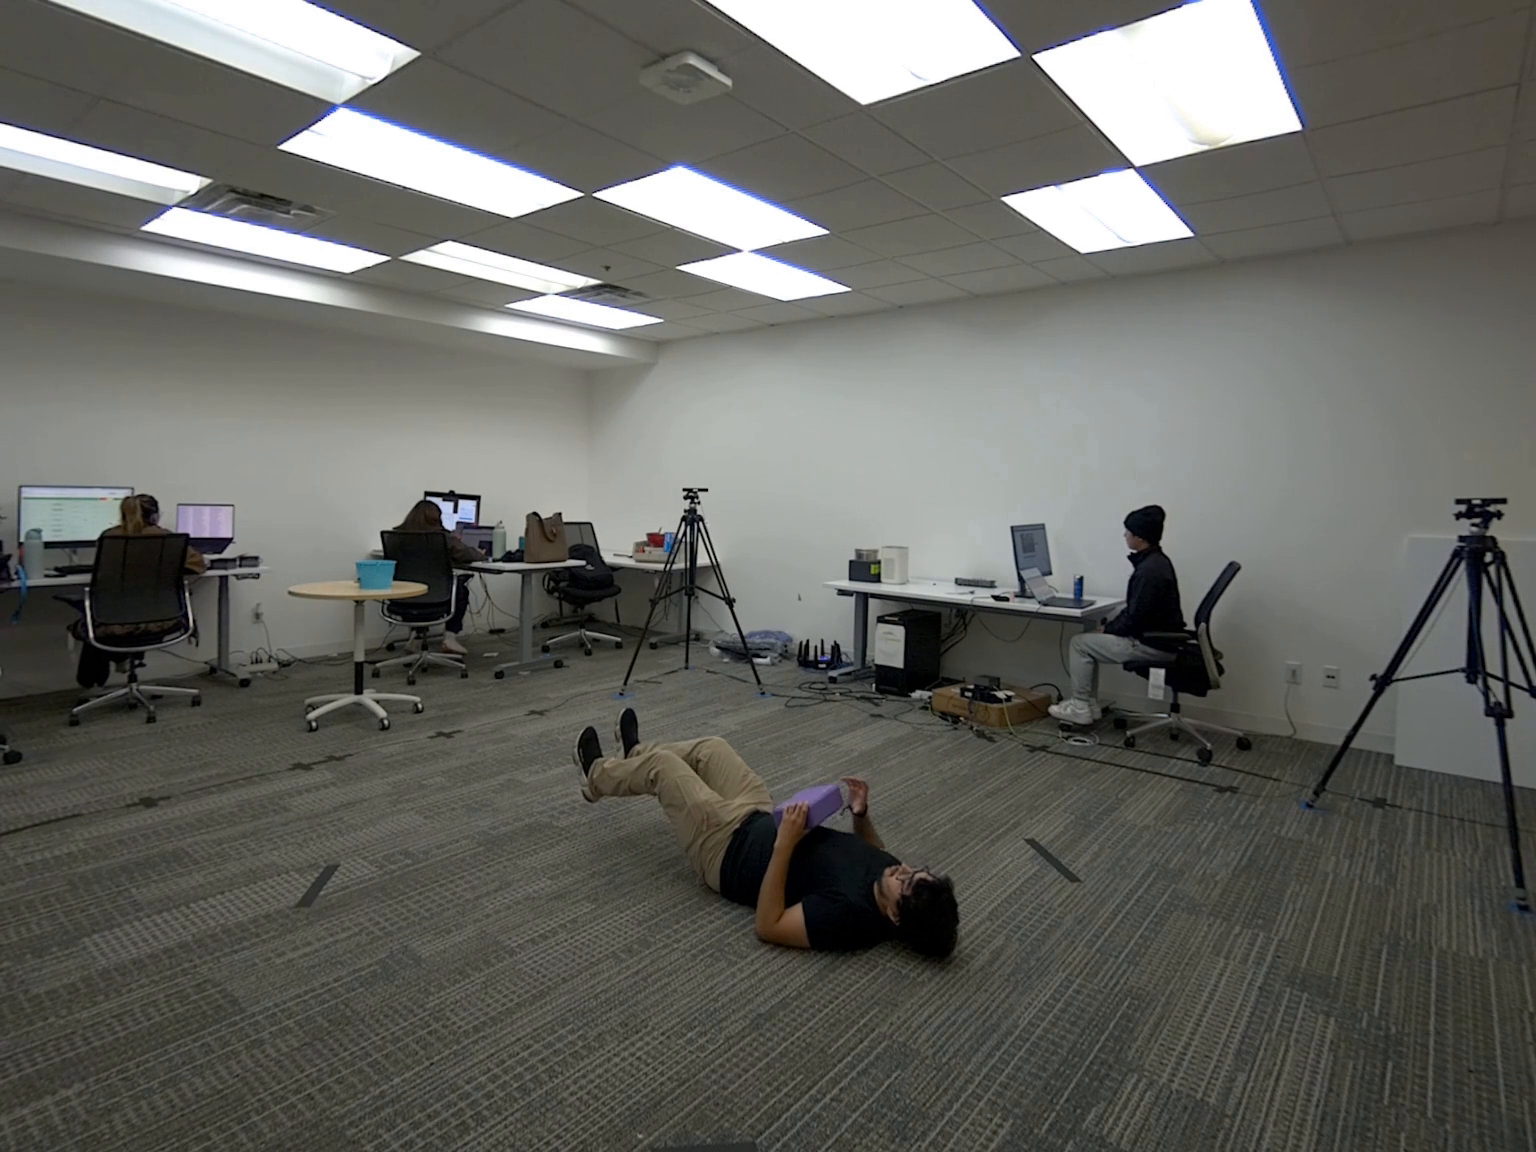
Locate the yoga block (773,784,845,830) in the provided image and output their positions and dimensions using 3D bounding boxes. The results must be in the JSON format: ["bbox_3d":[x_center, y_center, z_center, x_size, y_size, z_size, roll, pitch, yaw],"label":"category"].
[{"bbox_3d":[0.127,0.777,2.844,0.152,0.077,0.224,-15,-2,32],"label":"yoga block"}]
